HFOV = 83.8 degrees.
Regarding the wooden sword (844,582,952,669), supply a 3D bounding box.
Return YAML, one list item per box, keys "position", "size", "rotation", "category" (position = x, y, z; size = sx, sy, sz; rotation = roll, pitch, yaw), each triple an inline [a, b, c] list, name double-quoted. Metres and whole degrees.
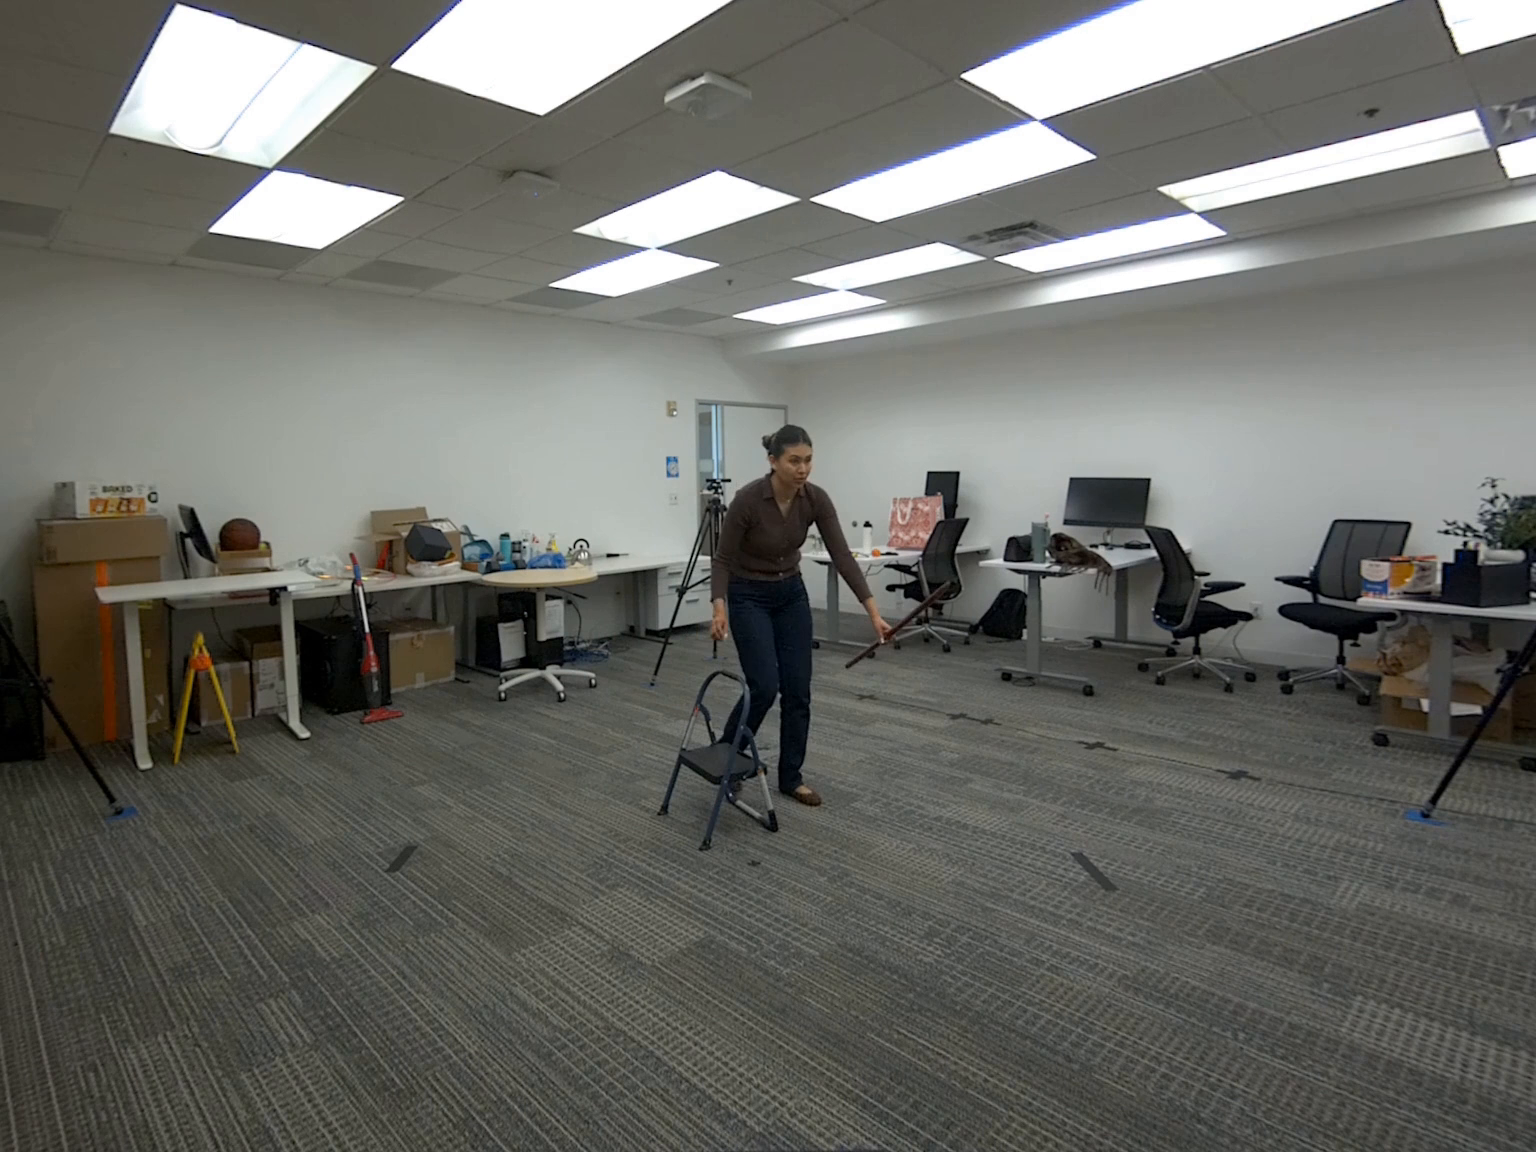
- position: [0.489, 0.231, 3.423]
  size: [0.024, 0.051, 1.016]
  rotation: [31, -28, -1]
  category: "wooden sword"
